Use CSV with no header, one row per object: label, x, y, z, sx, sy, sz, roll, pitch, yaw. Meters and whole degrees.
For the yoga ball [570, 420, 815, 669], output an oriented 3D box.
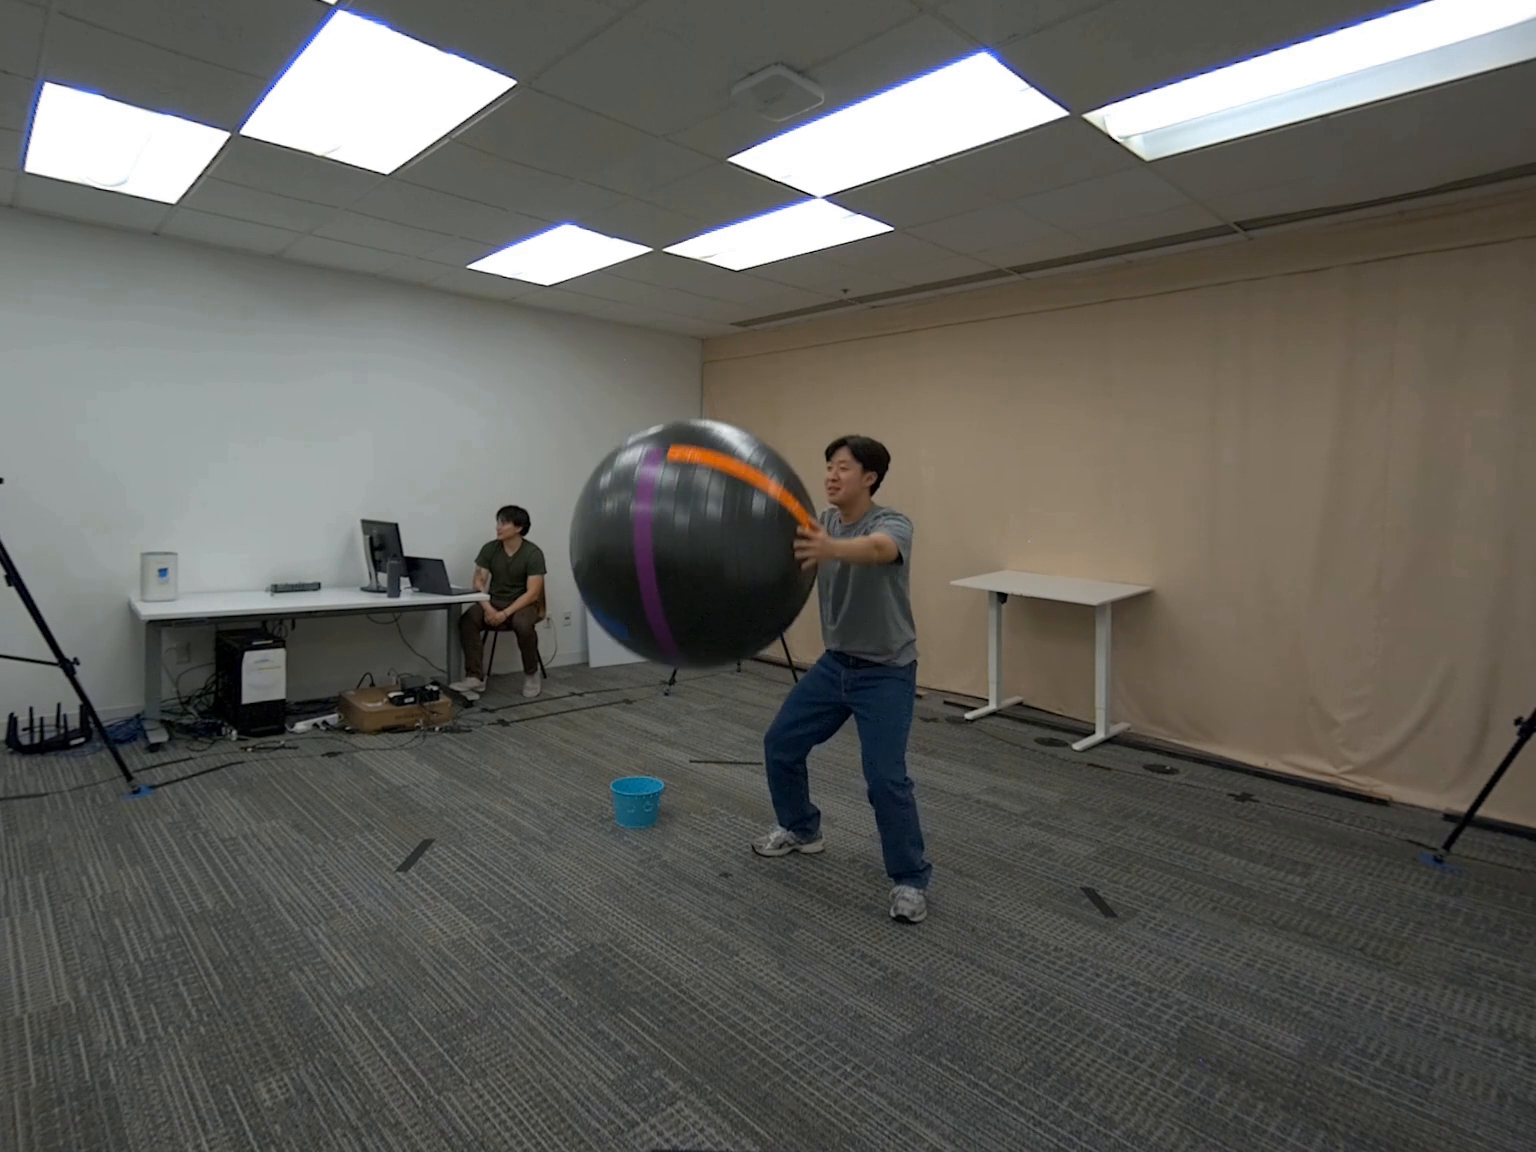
yoga ball,-0.209,-0.083,2.590,0.757,0.756,0.761,1,4,-1
